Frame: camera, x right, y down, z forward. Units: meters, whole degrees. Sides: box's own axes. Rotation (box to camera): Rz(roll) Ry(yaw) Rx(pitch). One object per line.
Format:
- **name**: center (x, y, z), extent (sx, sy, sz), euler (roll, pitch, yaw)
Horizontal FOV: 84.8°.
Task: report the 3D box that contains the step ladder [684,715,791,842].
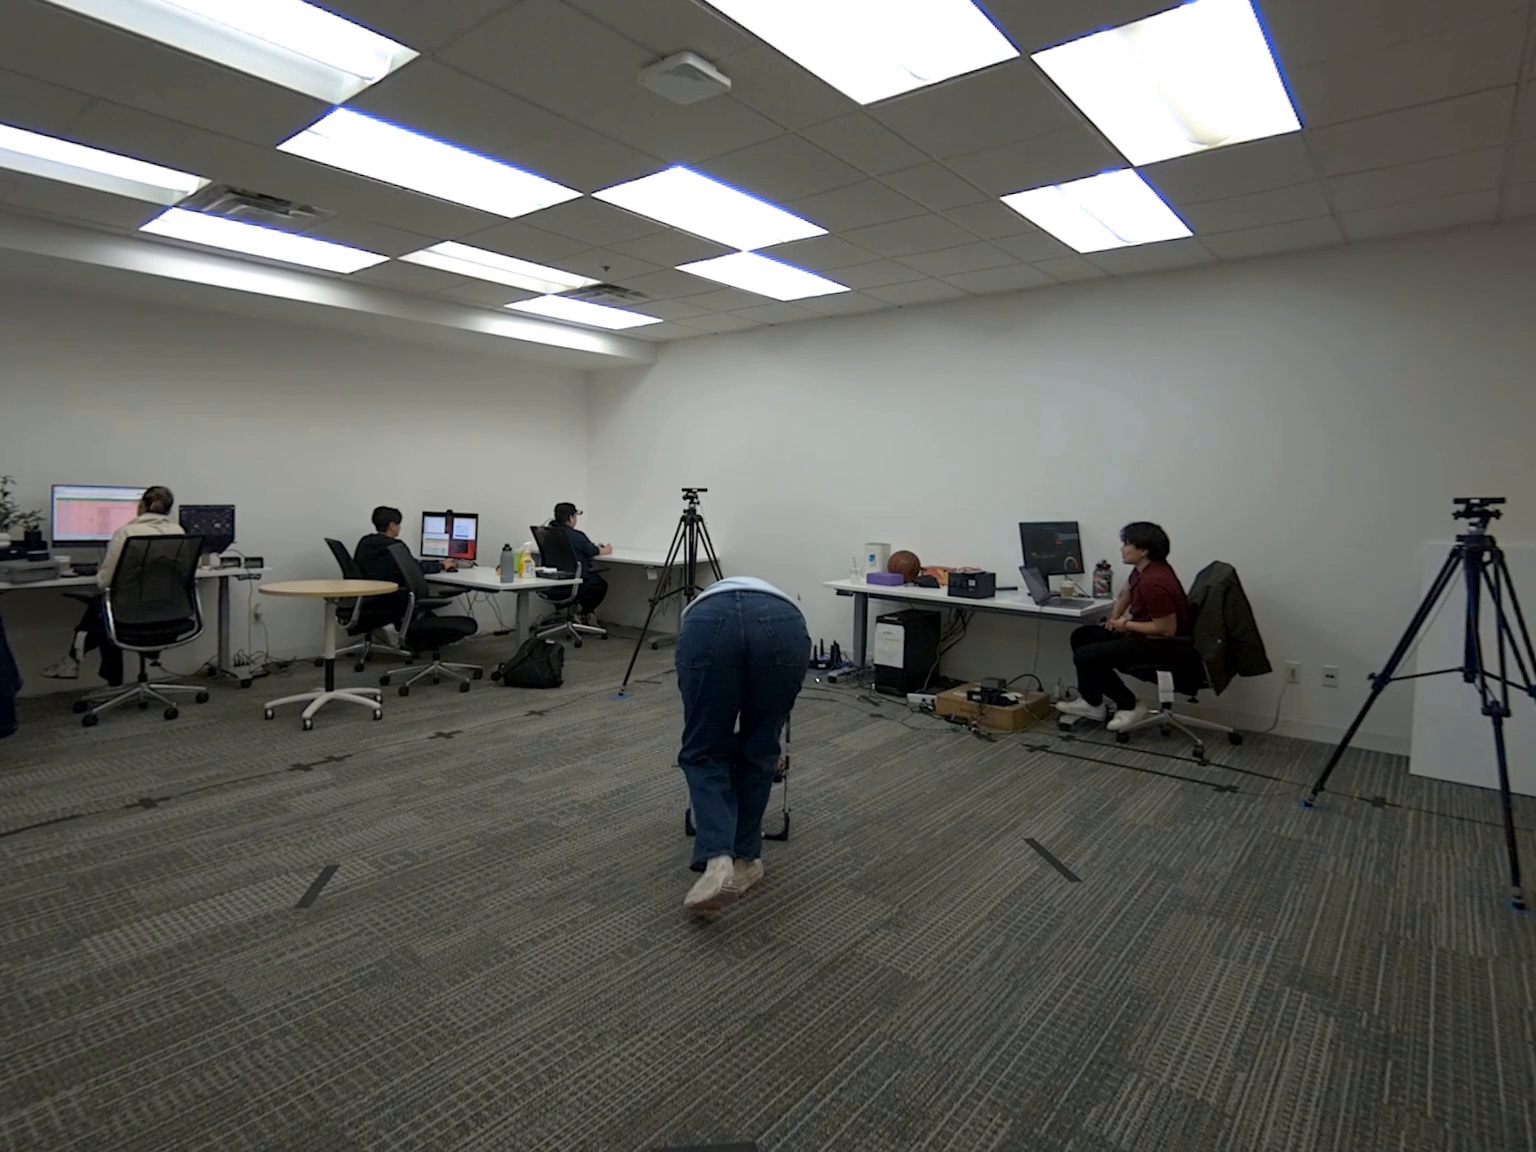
- **step ladder**: center (-0.123, 0.724, 3.551), extent (0.433, 0.604, 0.349), euler (1, 3, 3)
